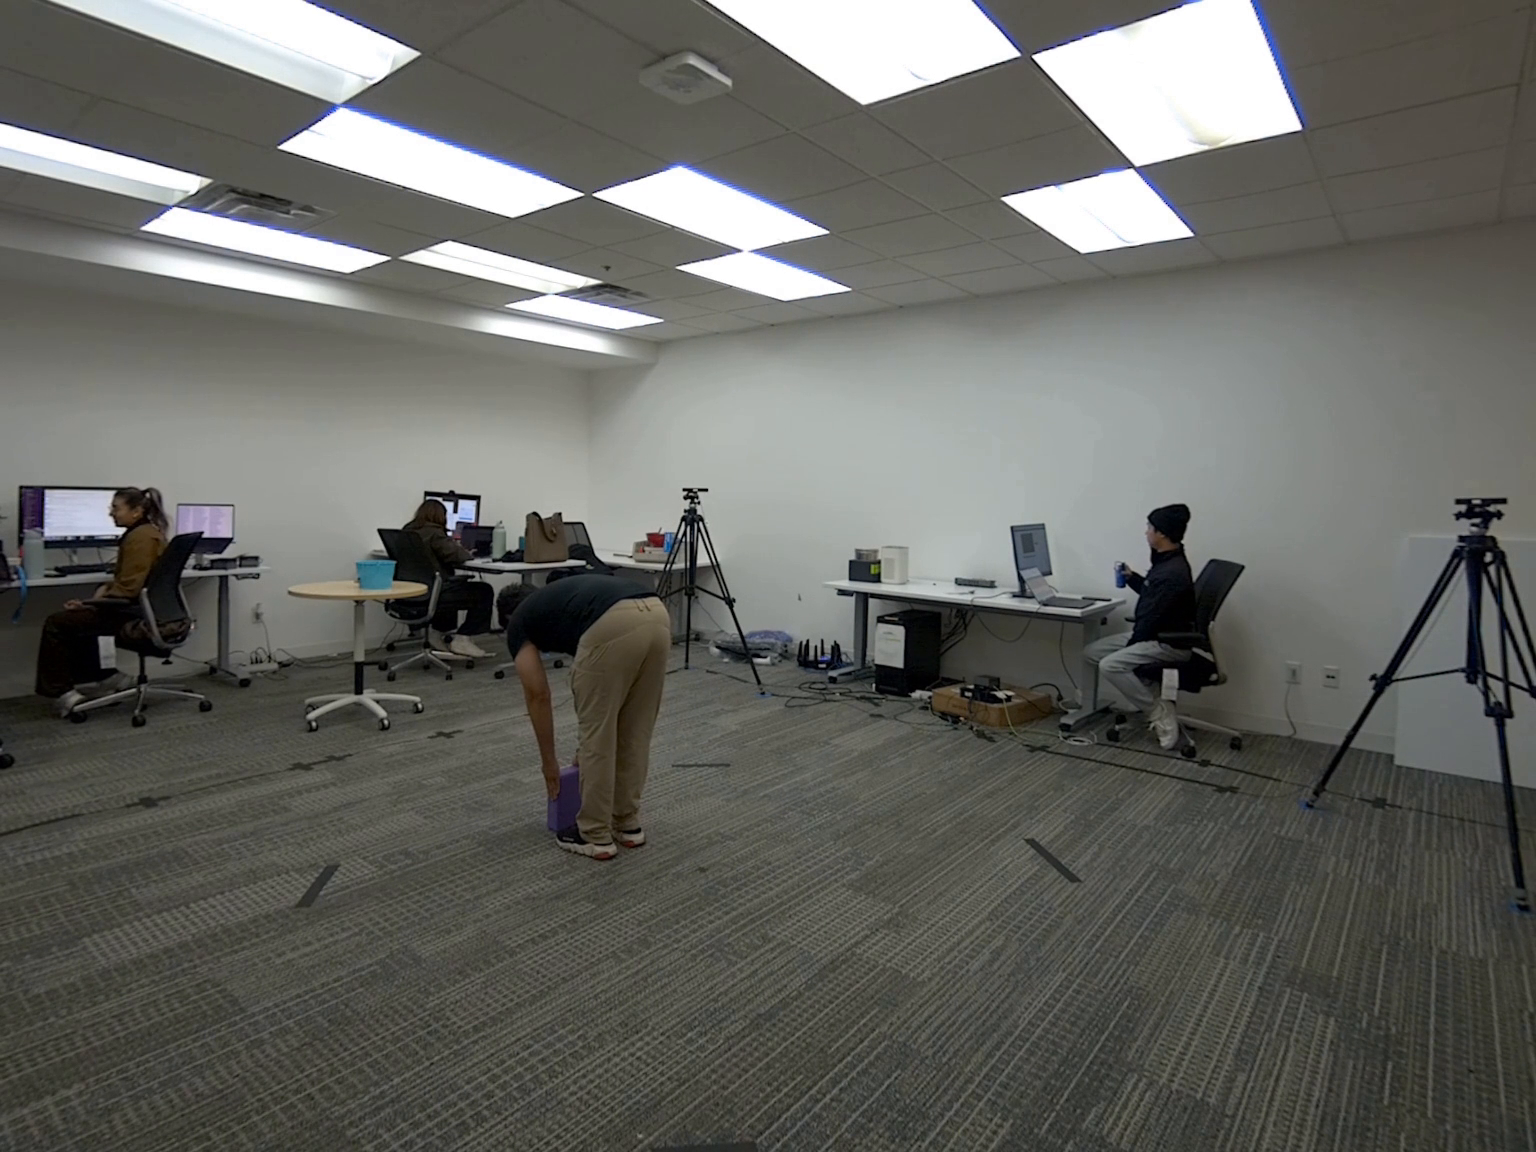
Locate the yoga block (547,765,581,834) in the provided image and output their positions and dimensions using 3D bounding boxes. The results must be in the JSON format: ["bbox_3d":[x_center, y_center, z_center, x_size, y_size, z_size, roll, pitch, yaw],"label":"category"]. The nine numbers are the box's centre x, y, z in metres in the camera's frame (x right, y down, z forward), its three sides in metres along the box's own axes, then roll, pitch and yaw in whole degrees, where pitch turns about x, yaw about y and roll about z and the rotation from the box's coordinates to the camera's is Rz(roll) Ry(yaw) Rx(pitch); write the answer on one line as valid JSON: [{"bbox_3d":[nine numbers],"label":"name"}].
[{"bbox_3d":[-0.840,0.910,3.487,0.079,0.229,0.144,2,4,41],"label":"yoga block"}]
